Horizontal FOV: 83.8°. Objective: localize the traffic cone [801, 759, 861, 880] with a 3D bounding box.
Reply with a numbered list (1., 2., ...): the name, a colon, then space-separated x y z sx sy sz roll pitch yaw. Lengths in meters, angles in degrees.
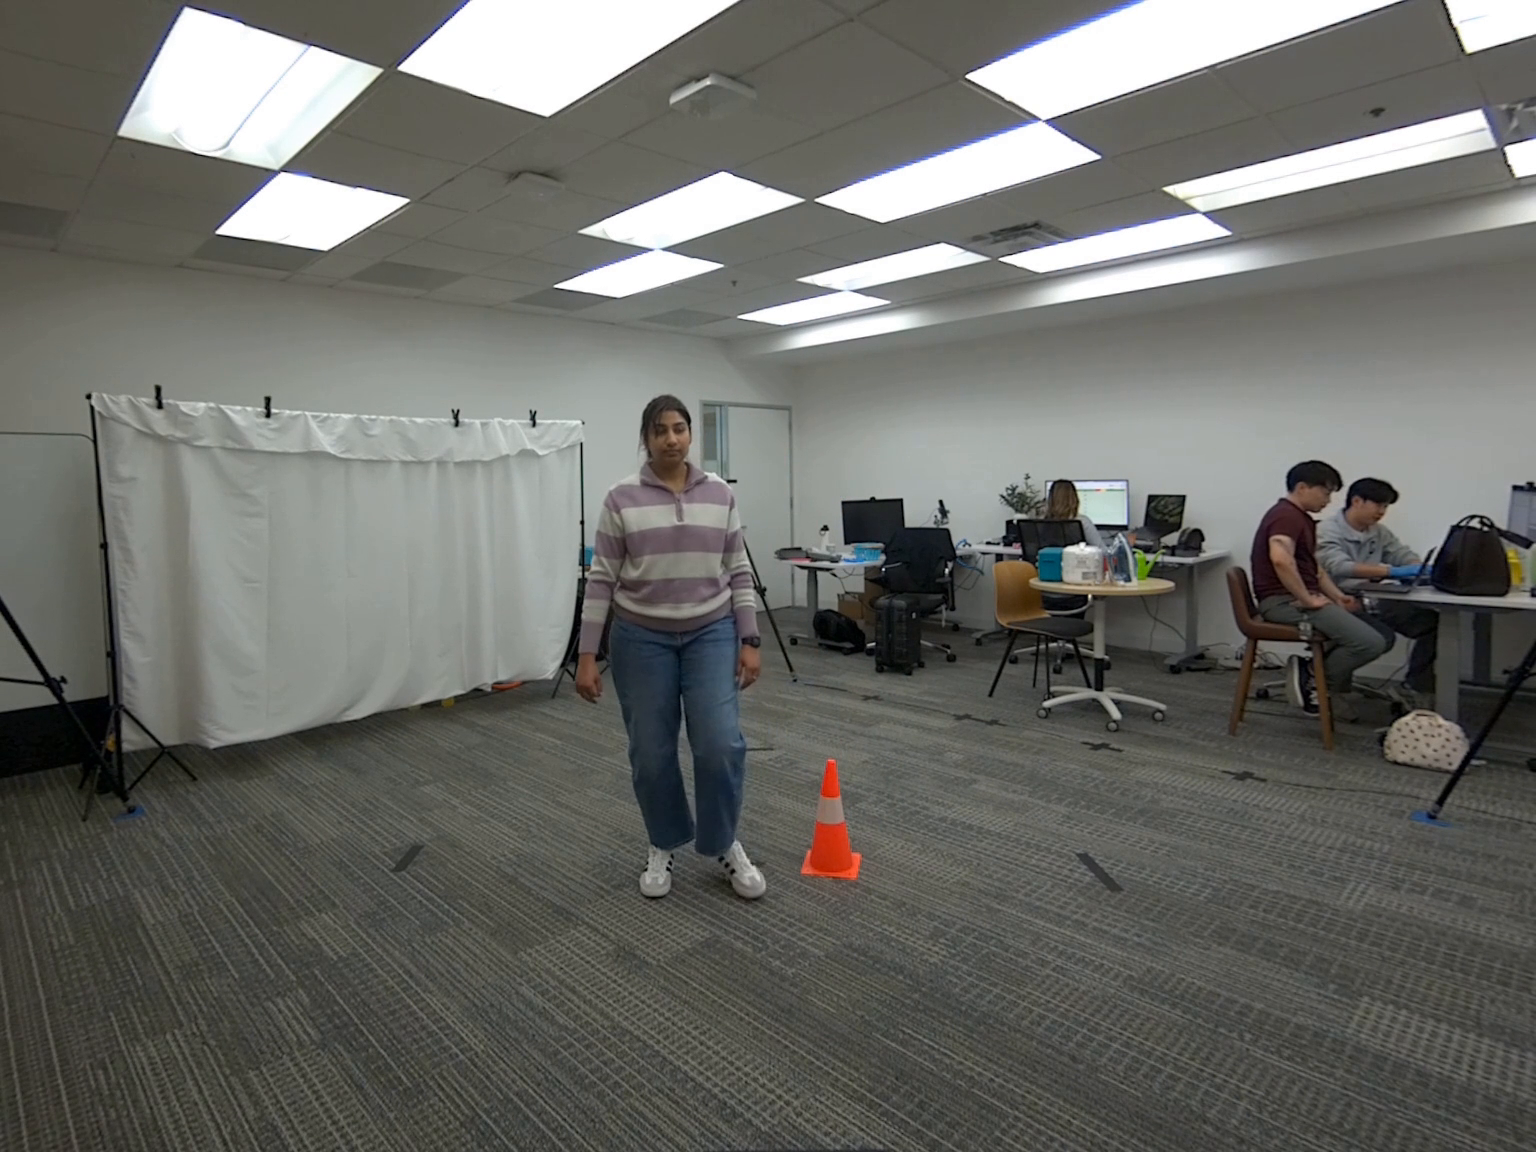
1. traffic cone: 0.230 0.858 3.088 0.206 0.383 0.203 0 3 12
